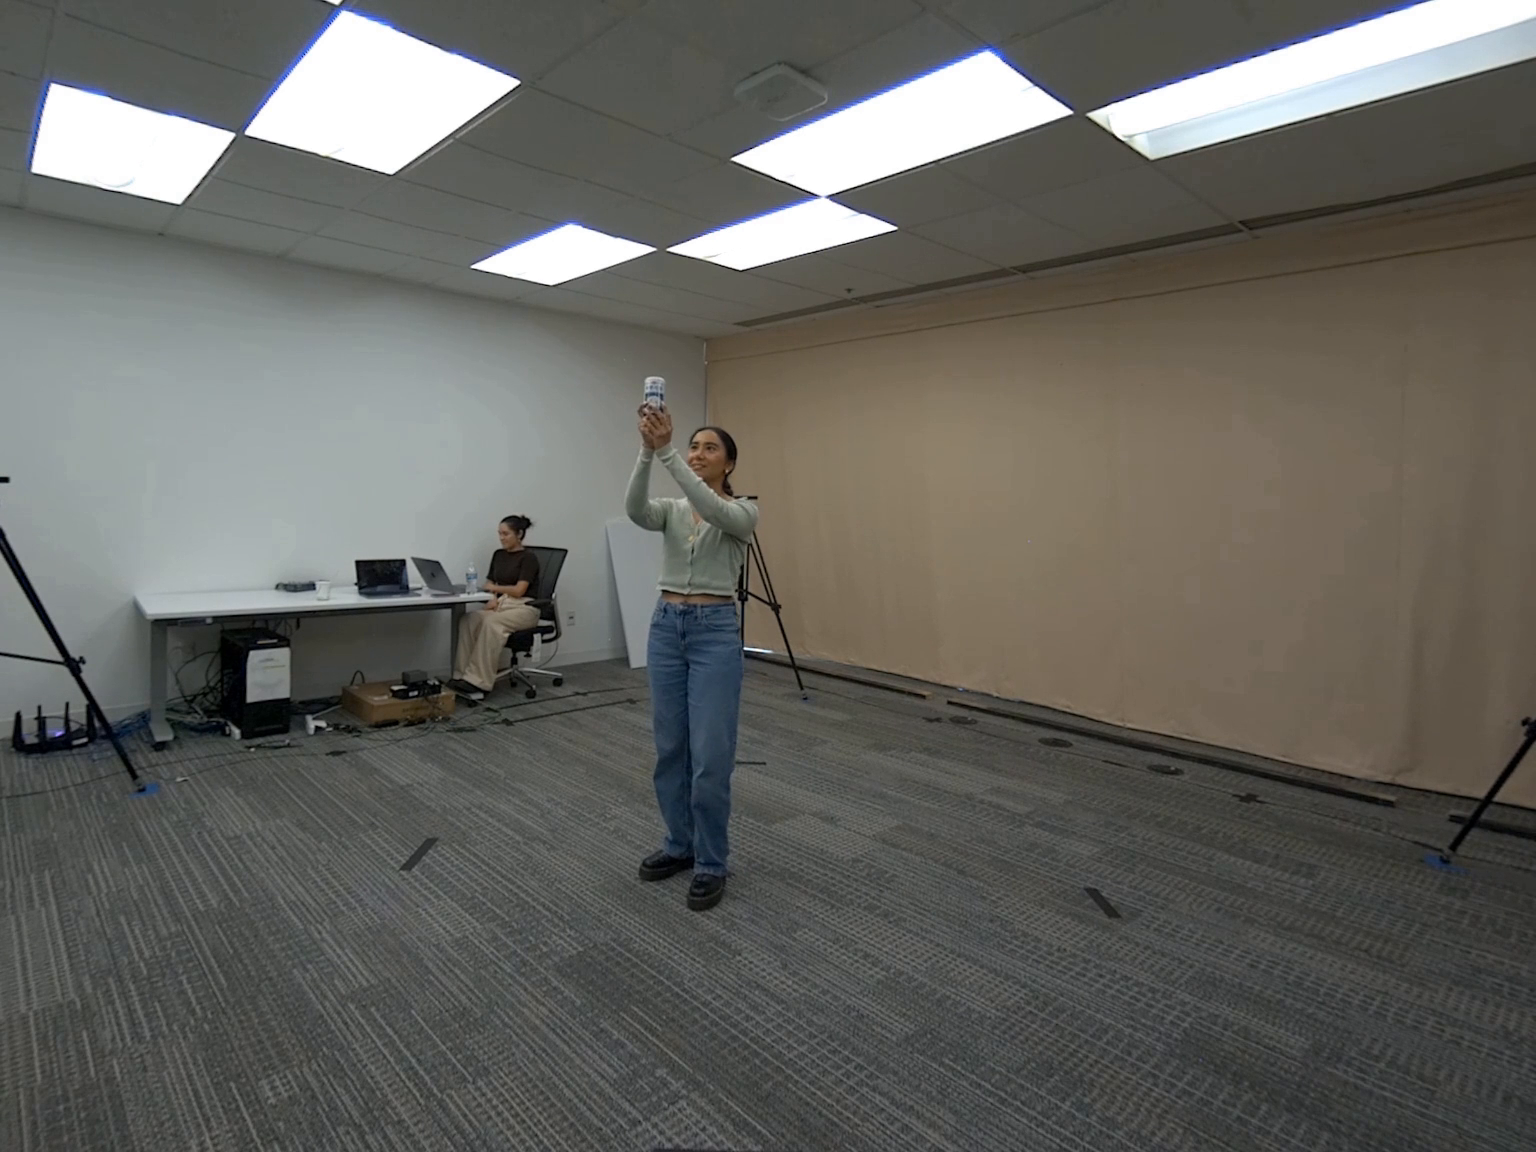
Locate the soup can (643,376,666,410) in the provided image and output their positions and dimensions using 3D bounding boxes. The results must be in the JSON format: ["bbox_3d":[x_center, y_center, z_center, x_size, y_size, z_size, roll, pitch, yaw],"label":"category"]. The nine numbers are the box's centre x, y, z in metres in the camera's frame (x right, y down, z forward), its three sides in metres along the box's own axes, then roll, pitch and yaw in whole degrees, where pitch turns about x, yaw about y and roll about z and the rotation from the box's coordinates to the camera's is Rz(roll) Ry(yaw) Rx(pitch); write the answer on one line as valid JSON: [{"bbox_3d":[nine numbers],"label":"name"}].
[{"bbox_3d":[-0.367,-0.576,2.718,0.067,0.122,0.067,1,-6,-1],"label":"soup can"}]
